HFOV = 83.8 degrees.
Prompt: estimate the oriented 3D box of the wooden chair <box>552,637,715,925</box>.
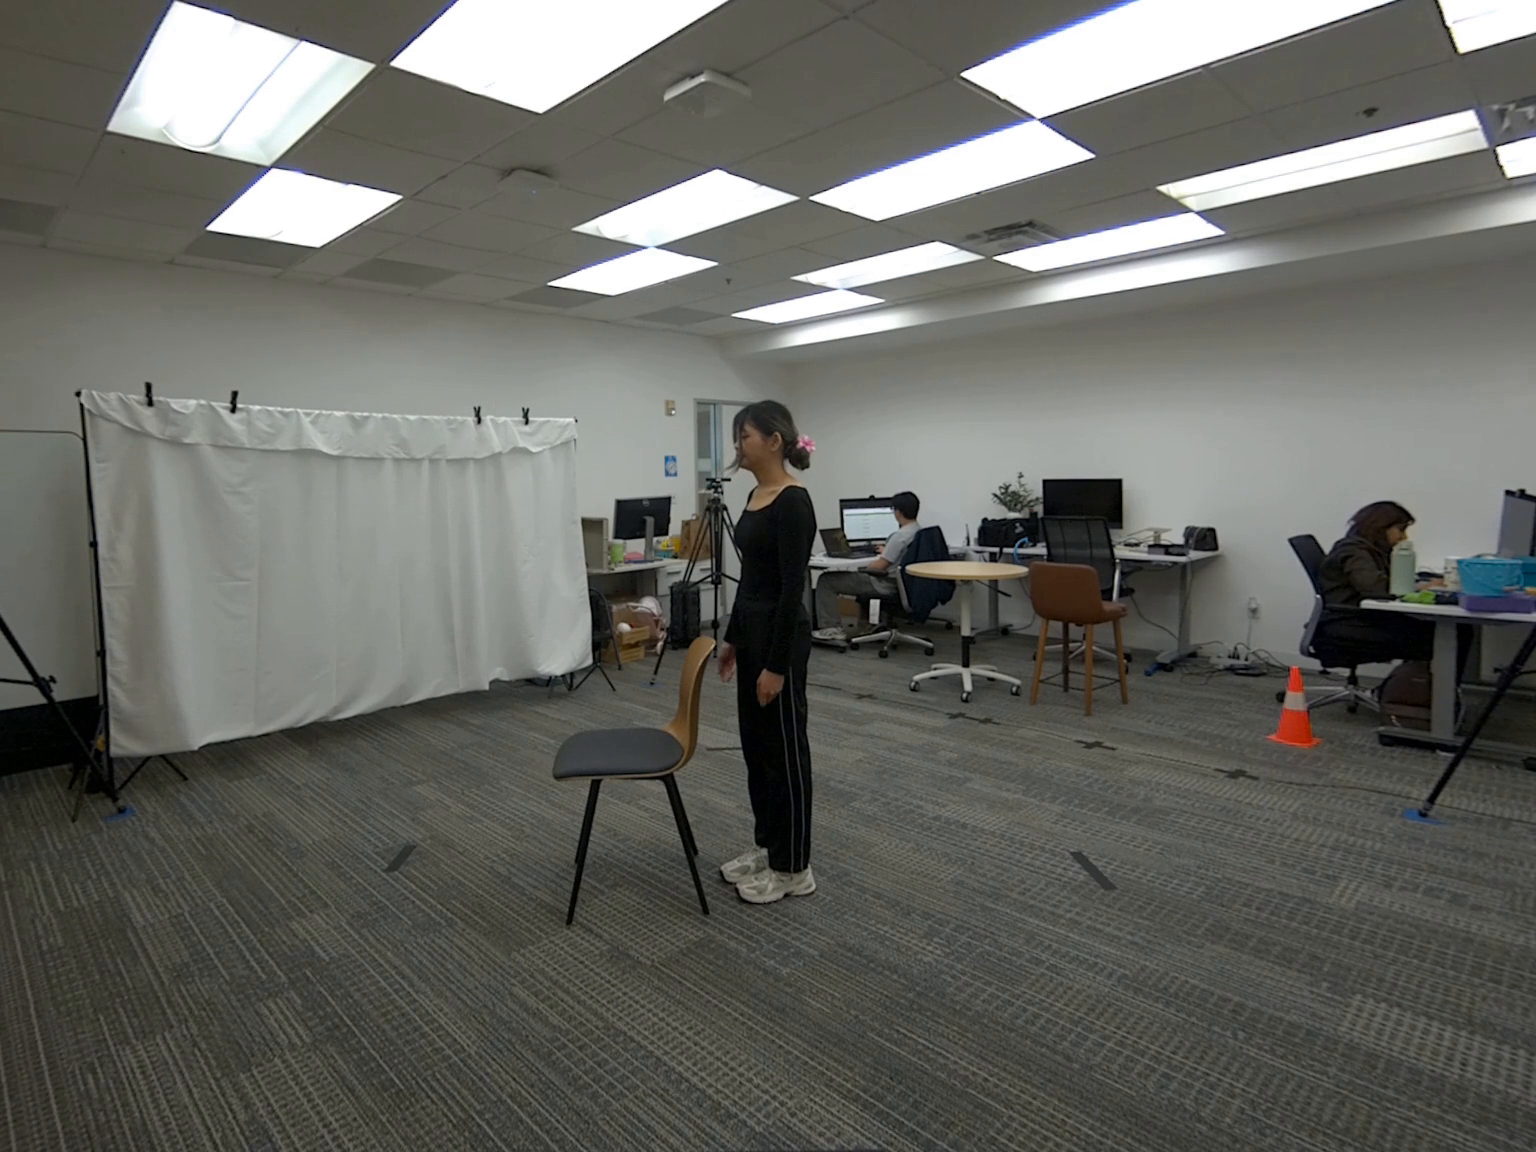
[{"bbox_3d":[-0.461,0.643,2.894,0.519,0.874,0.484,3,5,-8],"label":"wooden chair"}]
